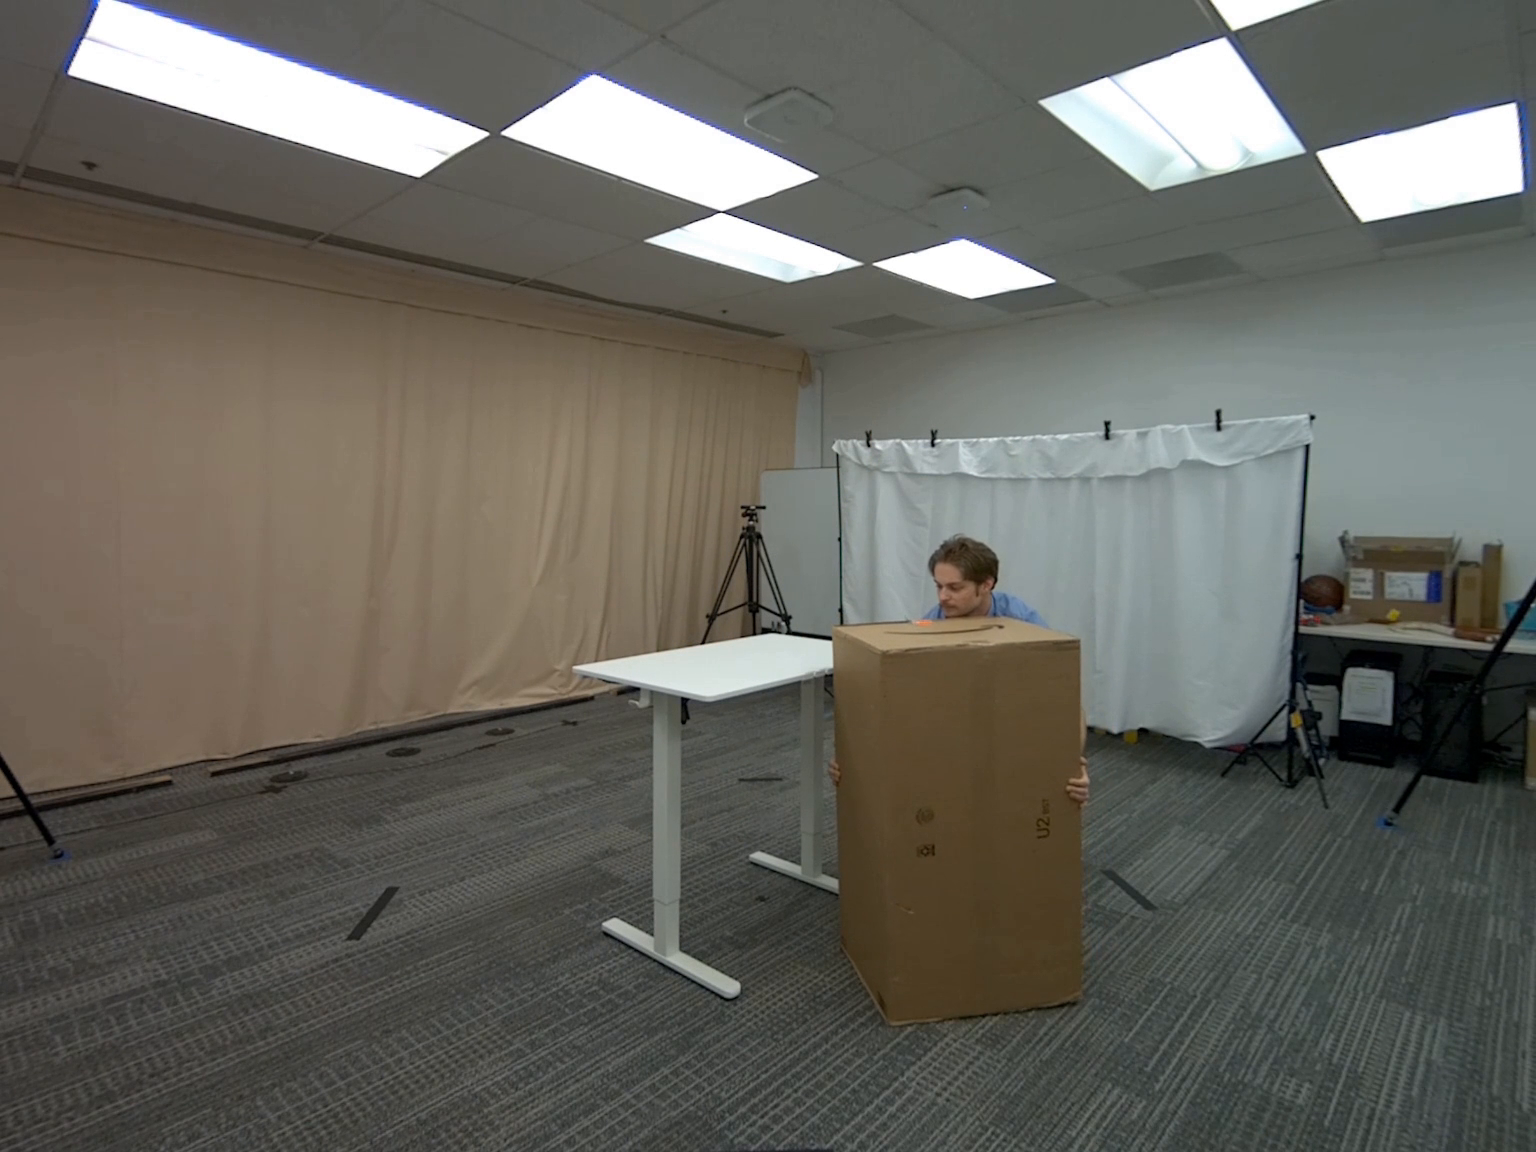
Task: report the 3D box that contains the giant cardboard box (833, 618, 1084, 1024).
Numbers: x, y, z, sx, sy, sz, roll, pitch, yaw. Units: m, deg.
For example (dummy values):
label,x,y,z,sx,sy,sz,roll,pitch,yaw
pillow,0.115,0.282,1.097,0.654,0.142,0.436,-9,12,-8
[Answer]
label,x,y,z,sx,sy,sz,roll,pitch,yaw
giant cardboard box,0.545,0.666,2.464,0.571,1.023,0.432,-3,4,-11
